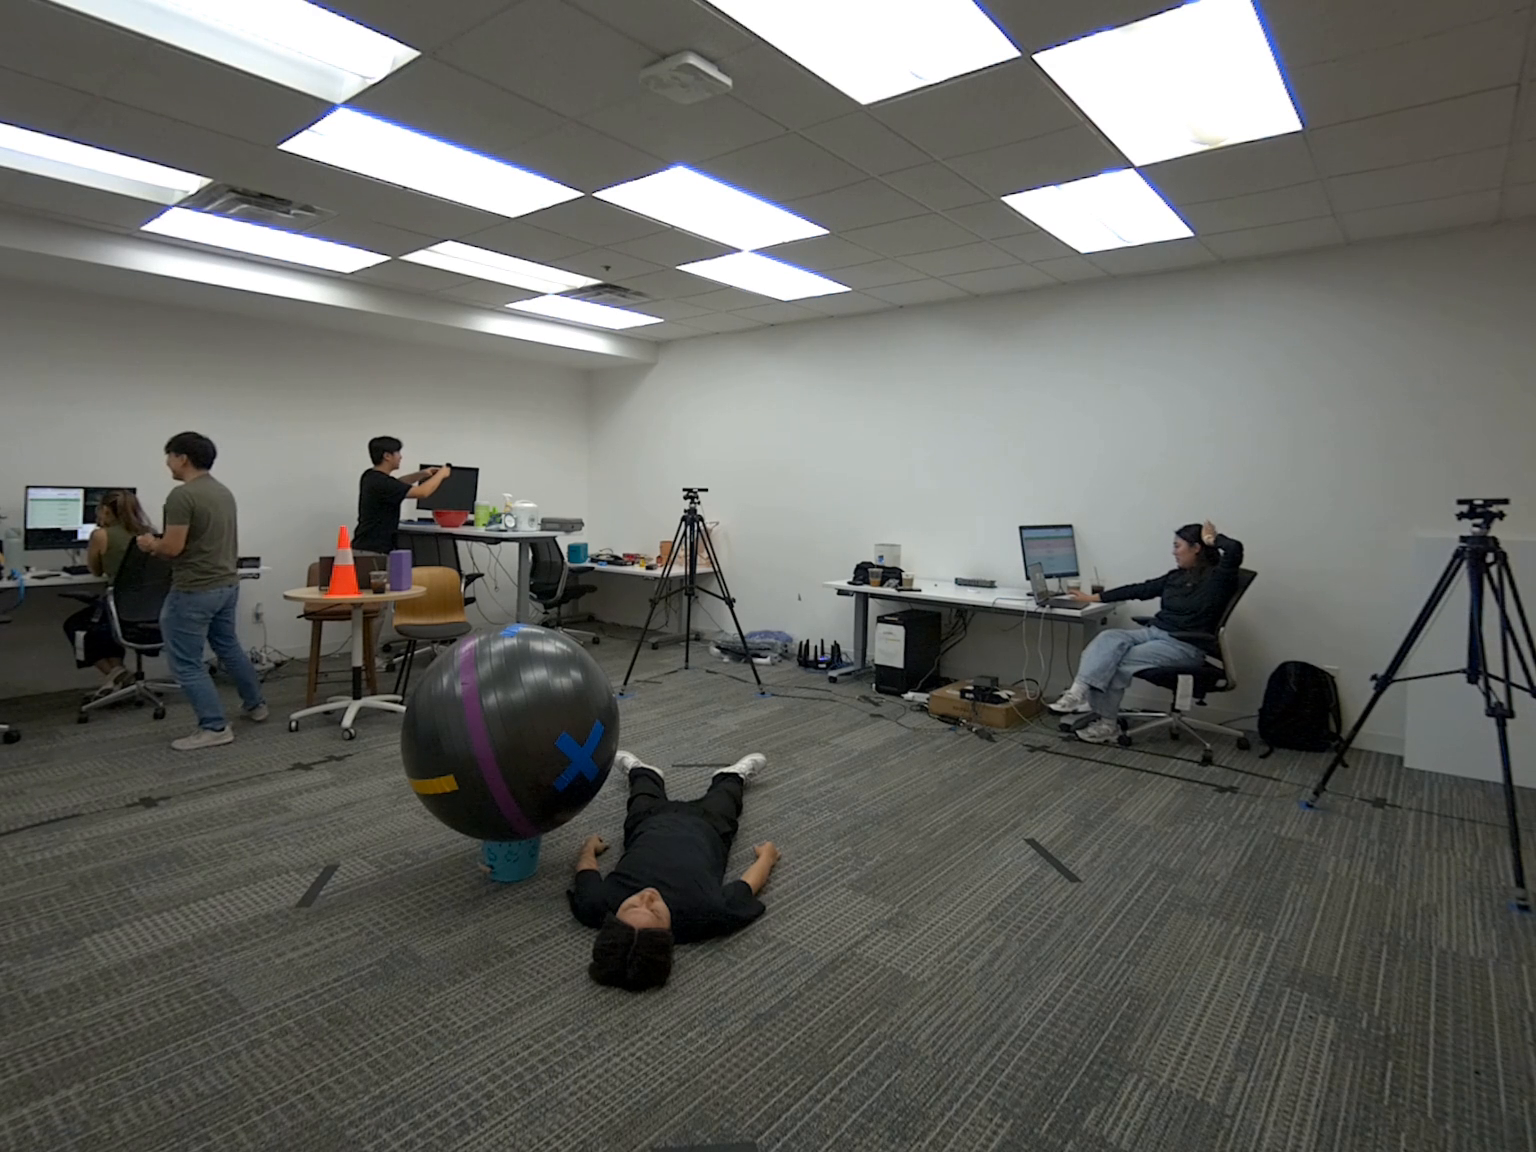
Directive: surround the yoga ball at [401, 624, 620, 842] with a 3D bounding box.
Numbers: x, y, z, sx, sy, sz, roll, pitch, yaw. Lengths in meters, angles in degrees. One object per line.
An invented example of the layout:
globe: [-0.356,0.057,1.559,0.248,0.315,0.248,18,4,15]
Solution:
yoga ball: [-0.925,0.556,3.054,0.757,0.755,0.762,1,4,-2]
